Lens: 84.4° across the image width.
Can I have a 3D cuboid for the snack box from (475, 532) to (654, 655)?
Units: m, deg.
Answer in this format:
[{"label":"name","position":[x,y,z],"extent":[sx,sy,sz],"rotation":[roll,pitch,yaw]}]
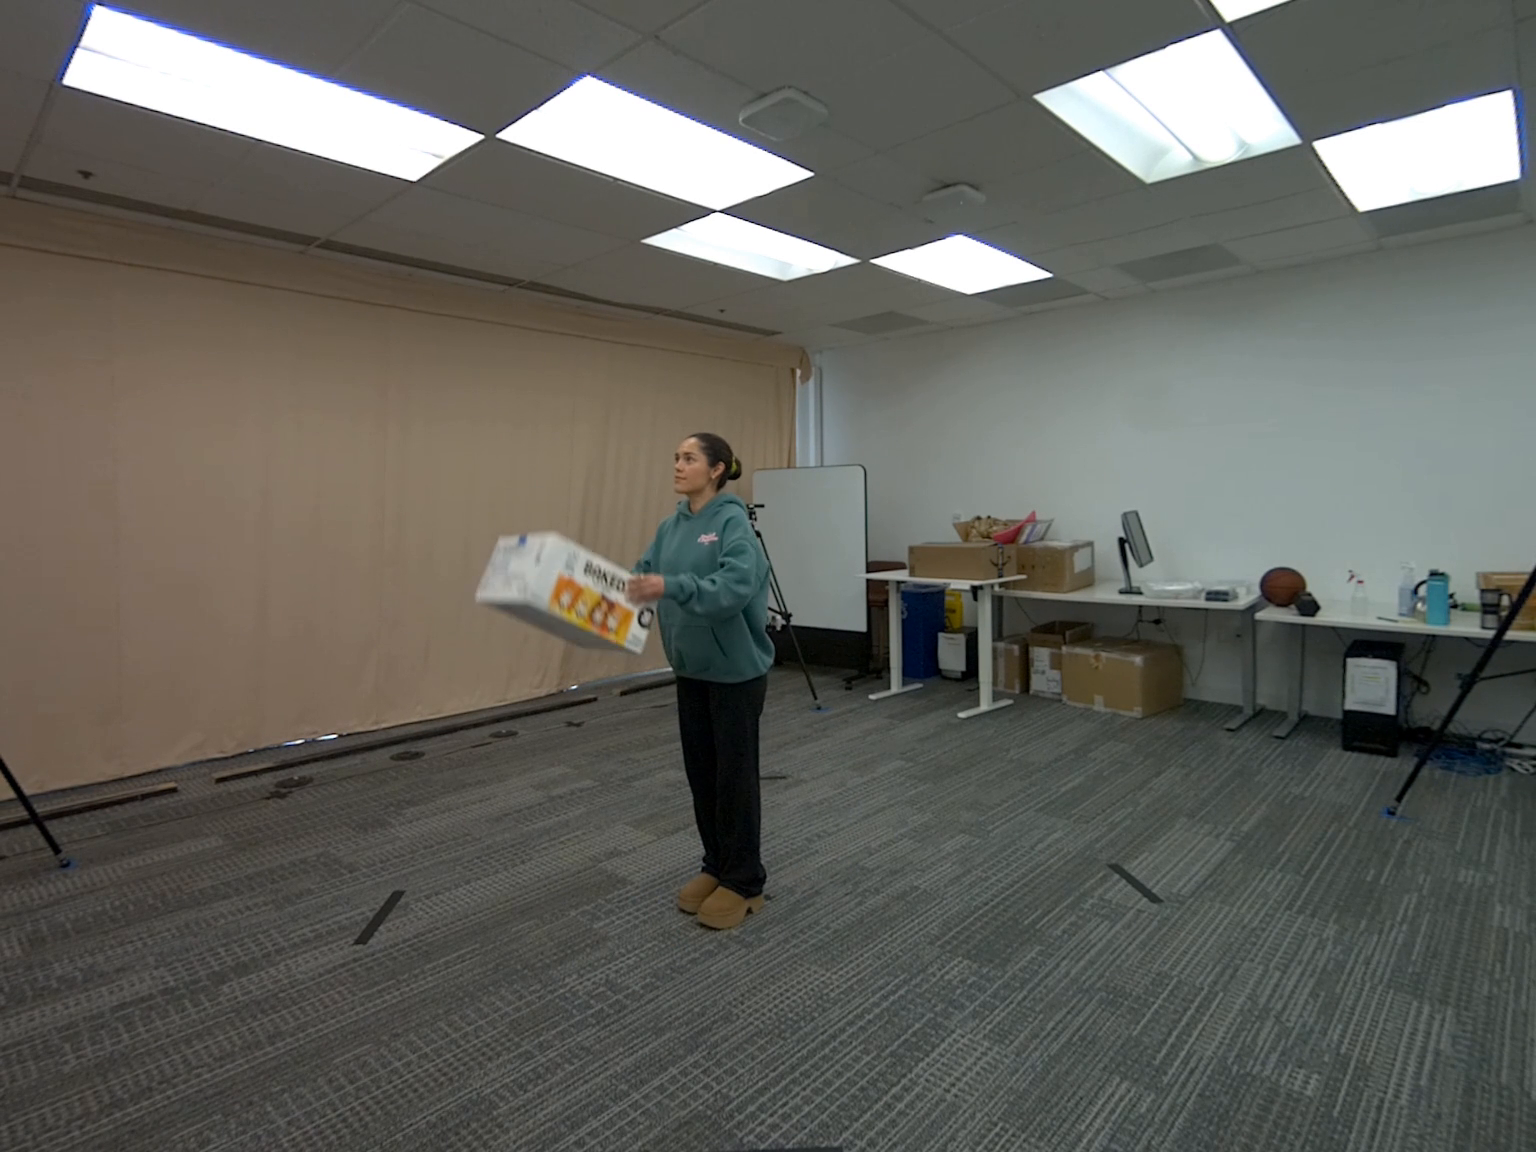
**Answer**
[{"label":"snack box","position":[-0.579,0.039,2.523],"extent":[0.391,0.206,0.351],"rotation":[31,-22,-36]}]
